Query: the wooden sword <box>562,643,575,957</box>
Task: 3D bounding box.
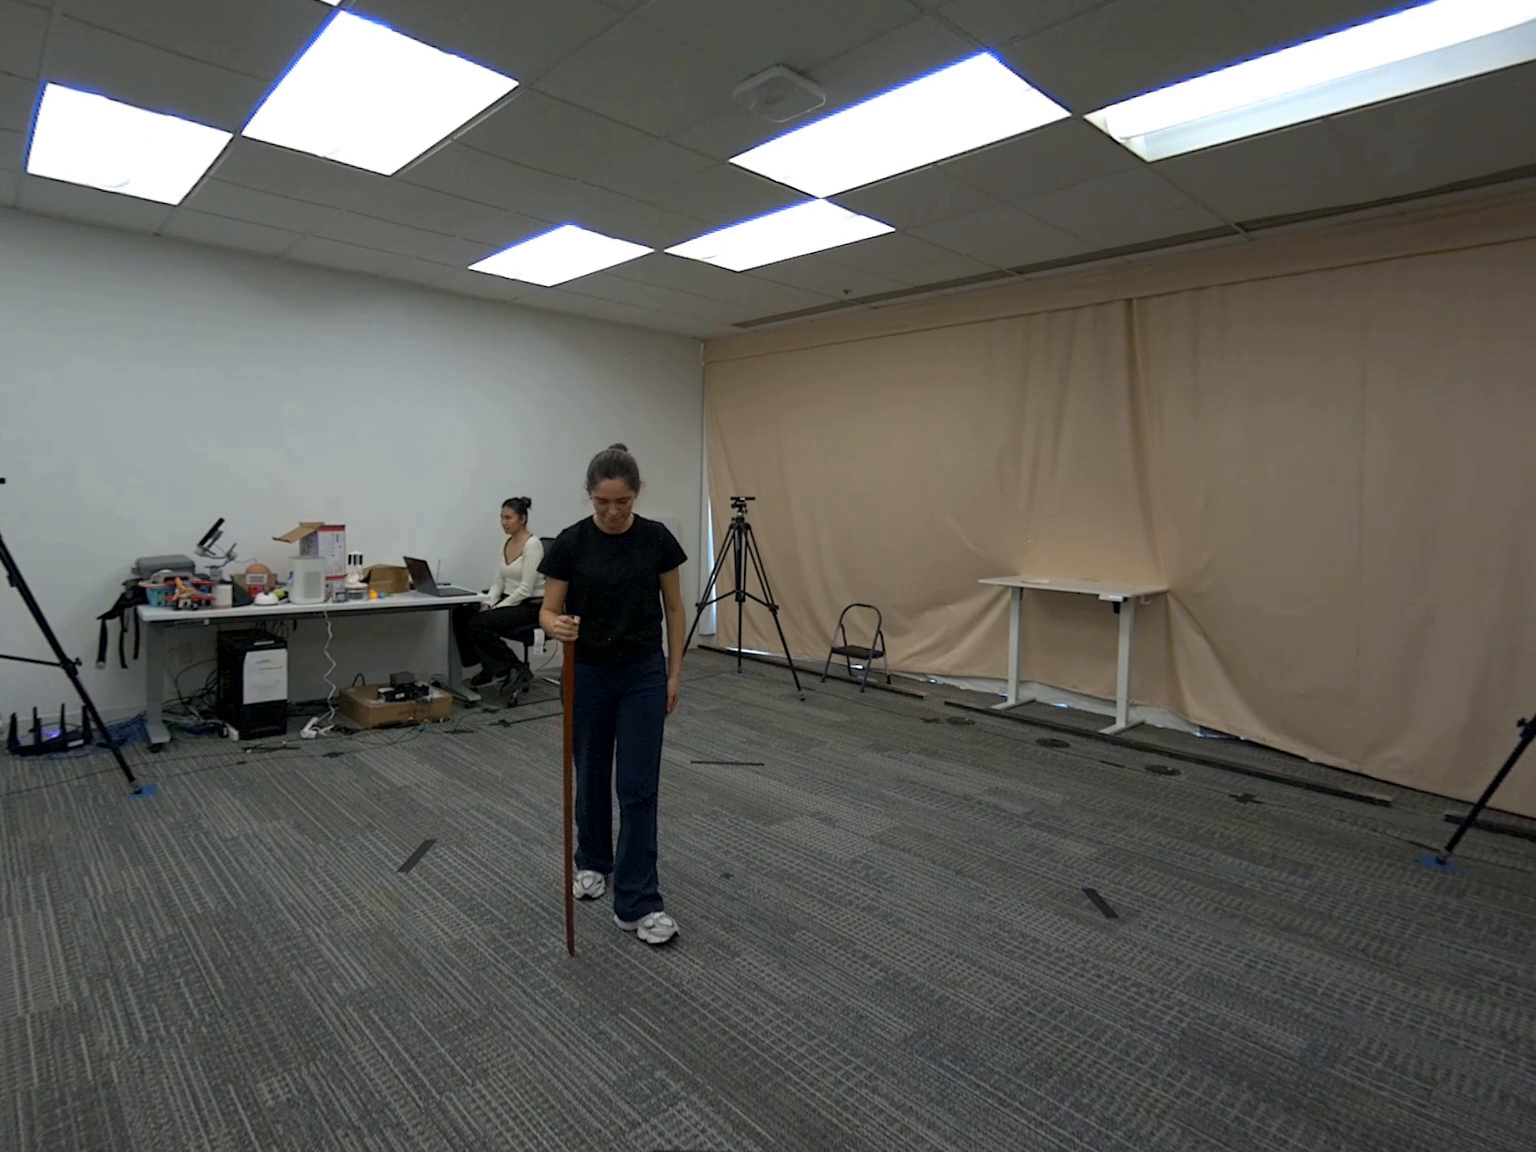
[{"bbox_3d":[-0.598,0.643,2.513,0.024,1.023,0.052,-1,2,-11],"label":"wooden sword"}]
